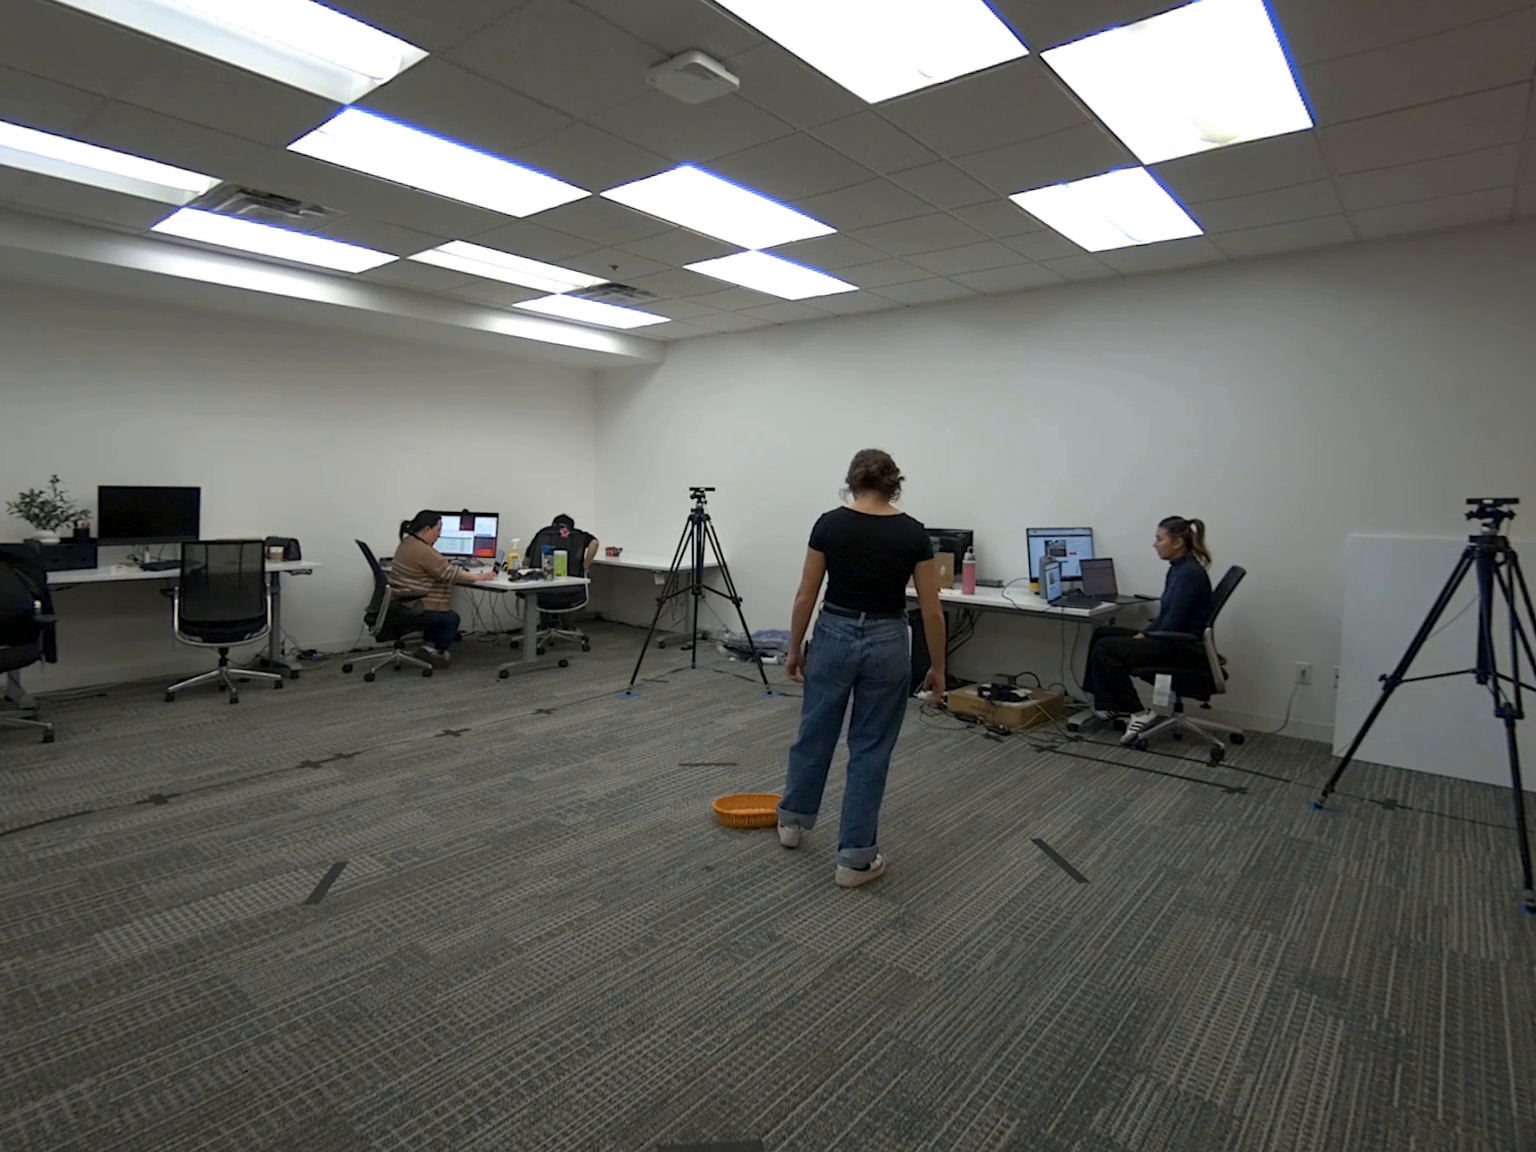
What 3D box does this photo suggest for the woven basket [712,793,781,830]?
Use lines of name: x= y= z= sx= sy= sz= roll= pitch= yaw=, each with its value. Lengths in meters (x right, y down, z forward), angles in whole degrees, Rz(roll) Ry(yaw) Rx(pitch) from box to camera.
woven basket: x=-0.075 y=0.984 z=3.585 sx=0.347 sy=0.073 sz=0.256 roll=-1 pitch=4 yaw=-11
